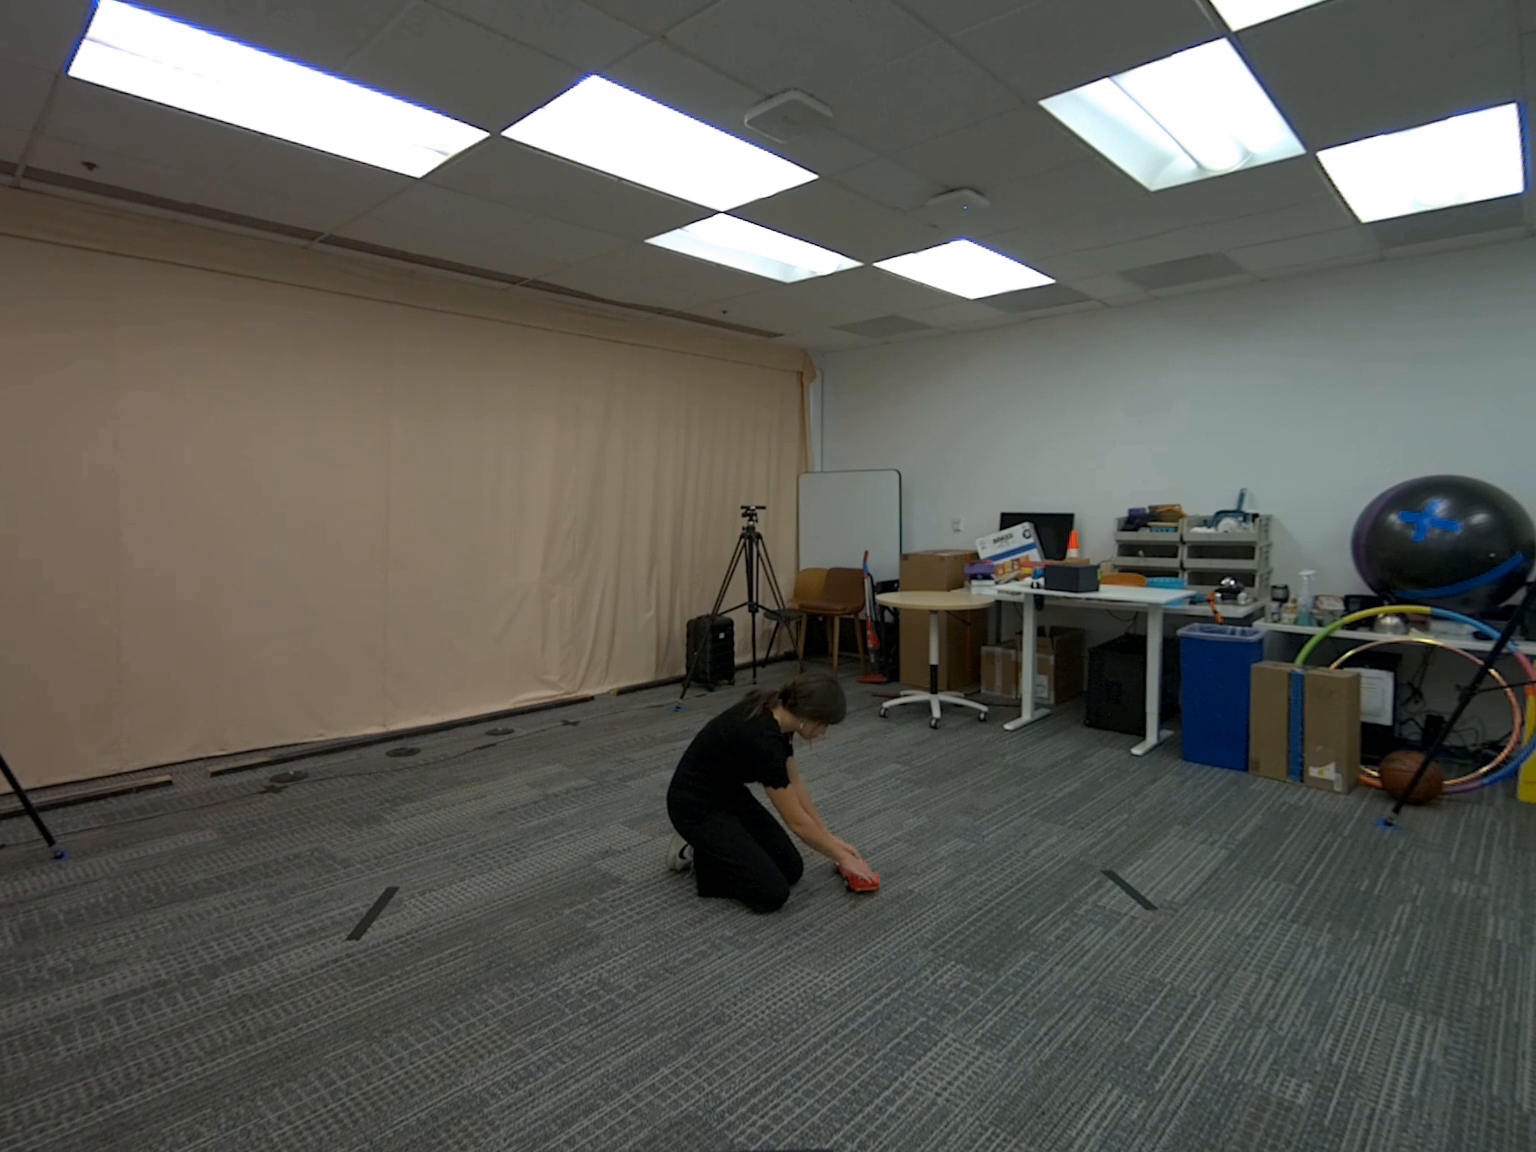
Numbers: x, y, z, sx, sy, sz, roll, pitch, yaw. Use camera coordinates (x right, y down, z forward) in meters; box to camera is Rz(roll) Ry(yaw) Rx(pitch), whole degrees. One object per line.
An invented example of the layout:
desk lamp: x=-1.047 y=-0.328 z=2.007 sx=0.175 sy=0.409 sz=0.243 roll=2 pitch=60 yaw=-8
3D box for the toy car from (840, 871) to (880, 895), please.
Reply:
toy car: x=0.335 y=1.107 z=3.090 sx=0.129 sy=0.083 sz=0.256 roll=2 pitch=-8 yaw=-11
